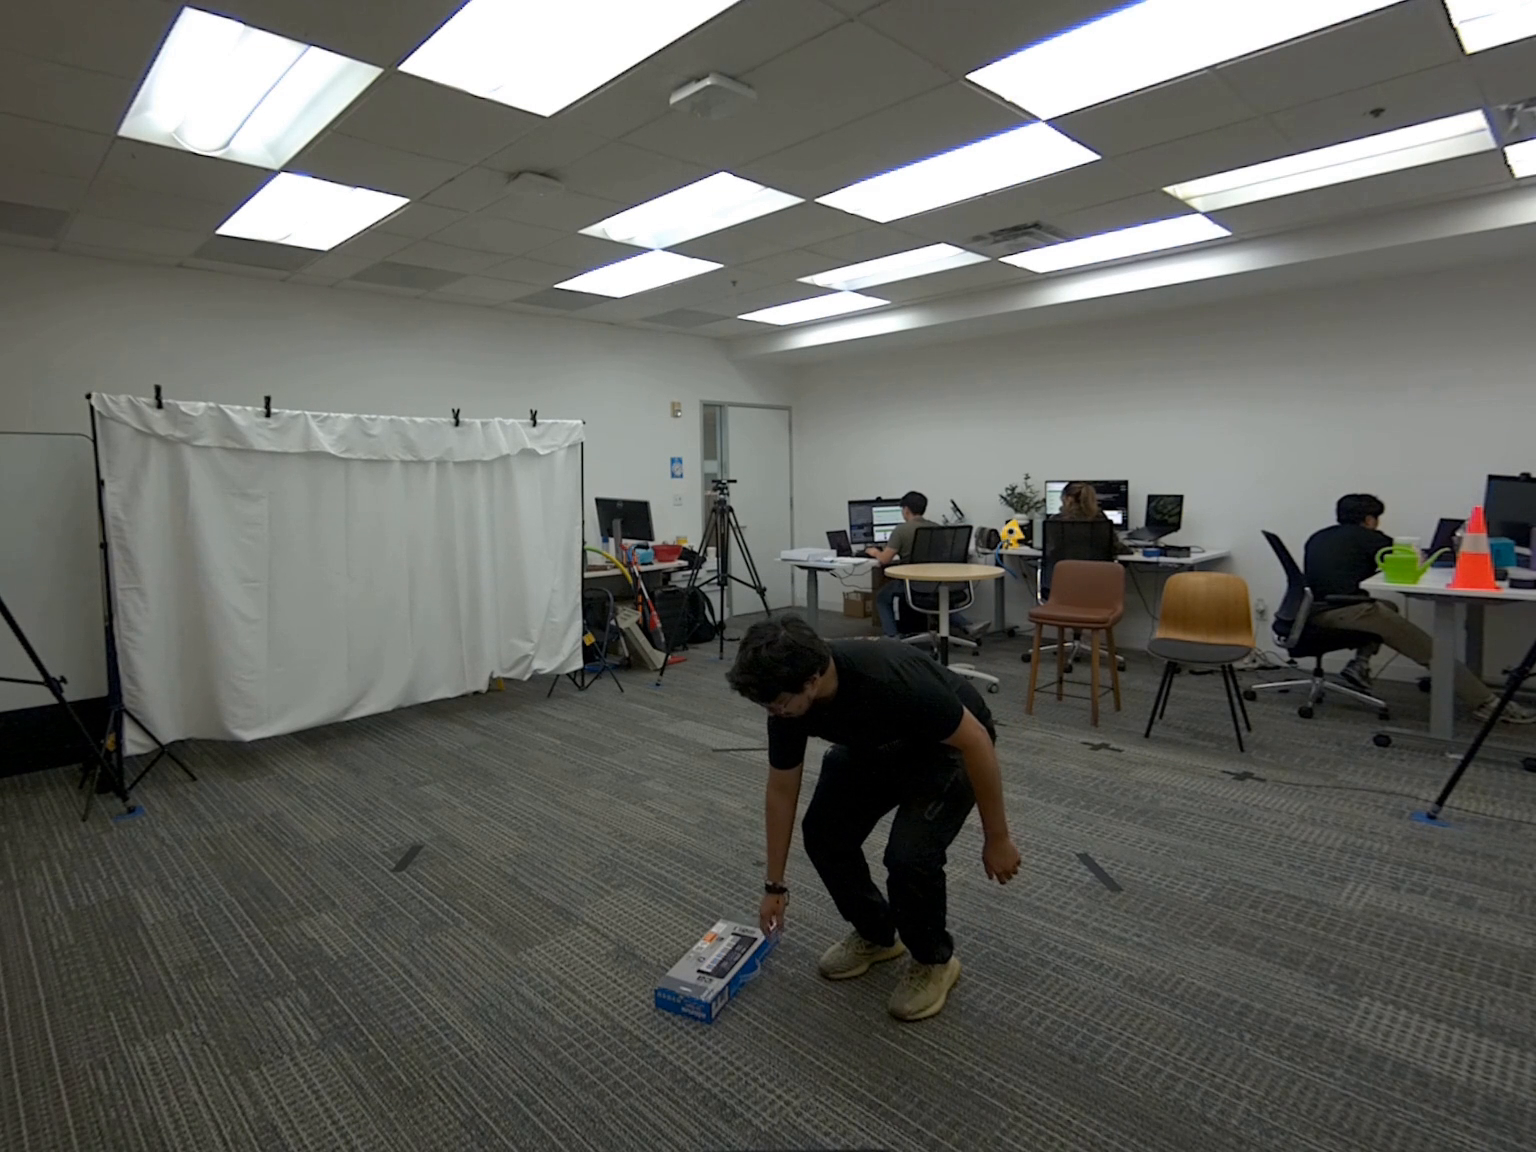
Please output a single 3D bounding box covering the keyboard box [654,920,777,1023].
[{"bbox_3d":[-0.133,1.100,2.429,0.180,0.059,0.428,1,7,26],"label":"keyboard box"}]
